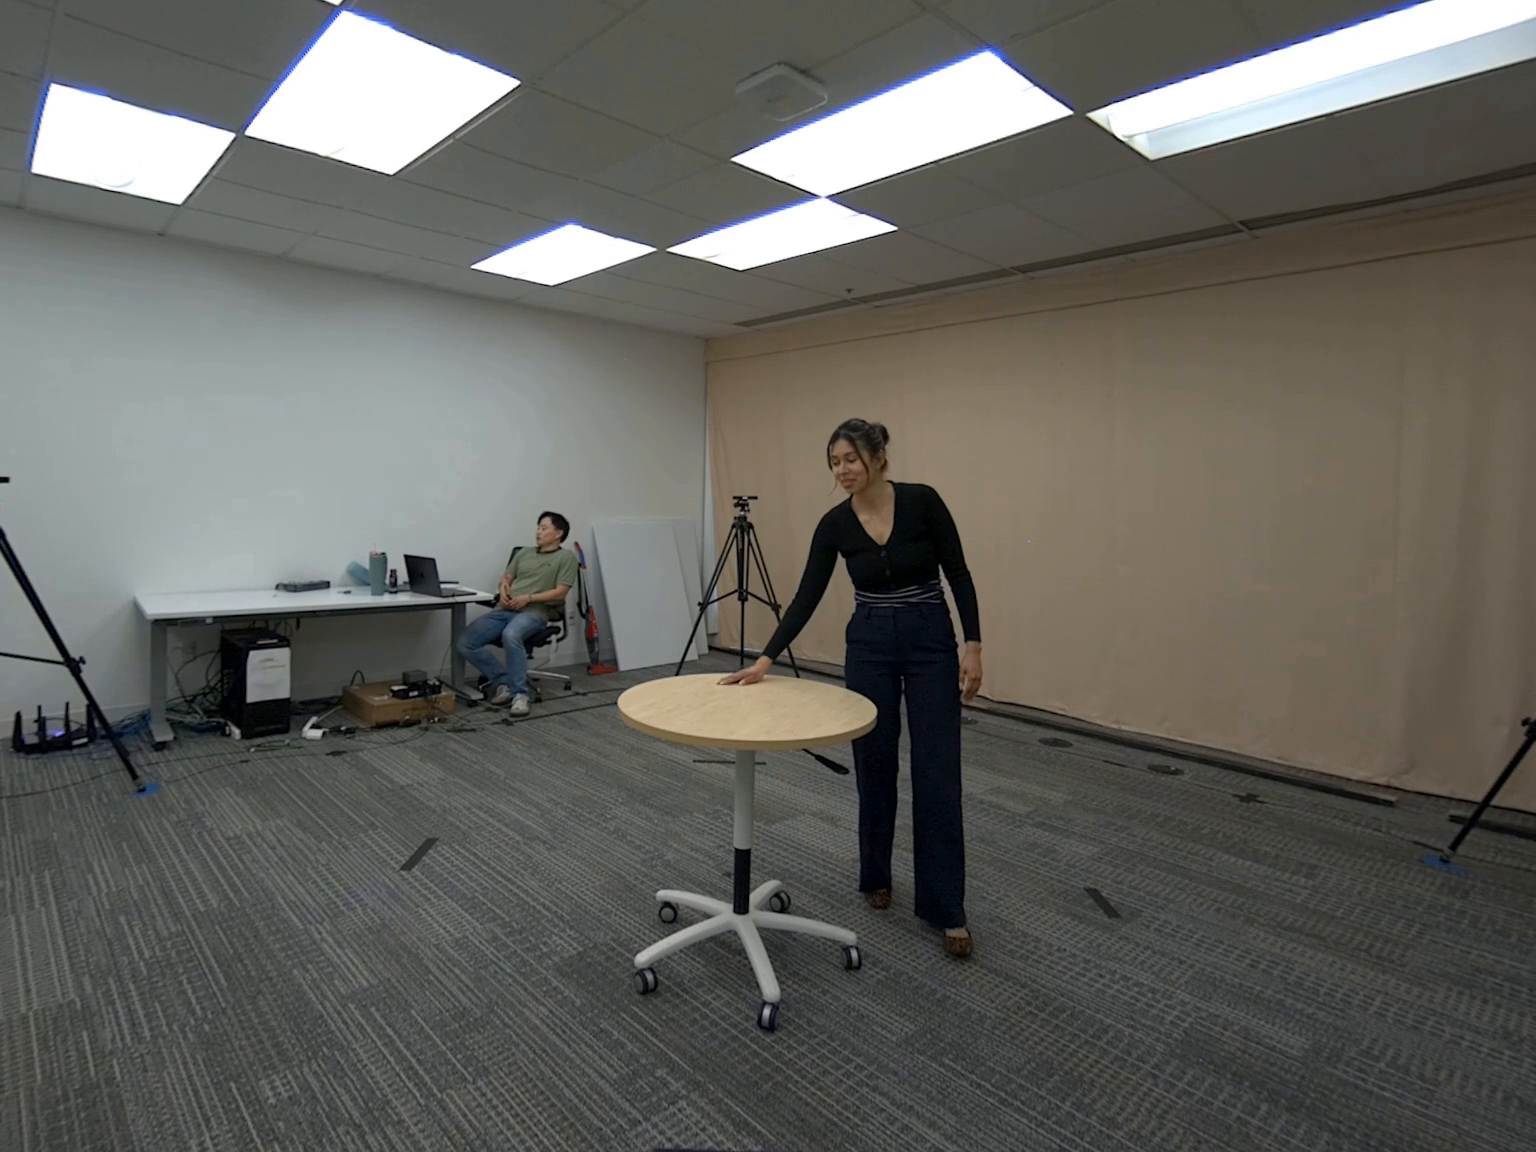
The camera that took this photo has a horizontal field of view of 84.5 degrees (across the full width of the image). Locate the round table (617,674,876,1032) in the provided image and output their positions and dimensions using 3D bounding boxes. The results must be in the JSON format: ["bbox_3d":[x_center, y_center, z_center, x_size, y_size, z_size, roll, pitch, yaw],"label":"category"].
[{"bbox_3d":[-0.081,0.770,2.524,0.763,0.791,0.767,2,5,-2],"label":"round table"}]
